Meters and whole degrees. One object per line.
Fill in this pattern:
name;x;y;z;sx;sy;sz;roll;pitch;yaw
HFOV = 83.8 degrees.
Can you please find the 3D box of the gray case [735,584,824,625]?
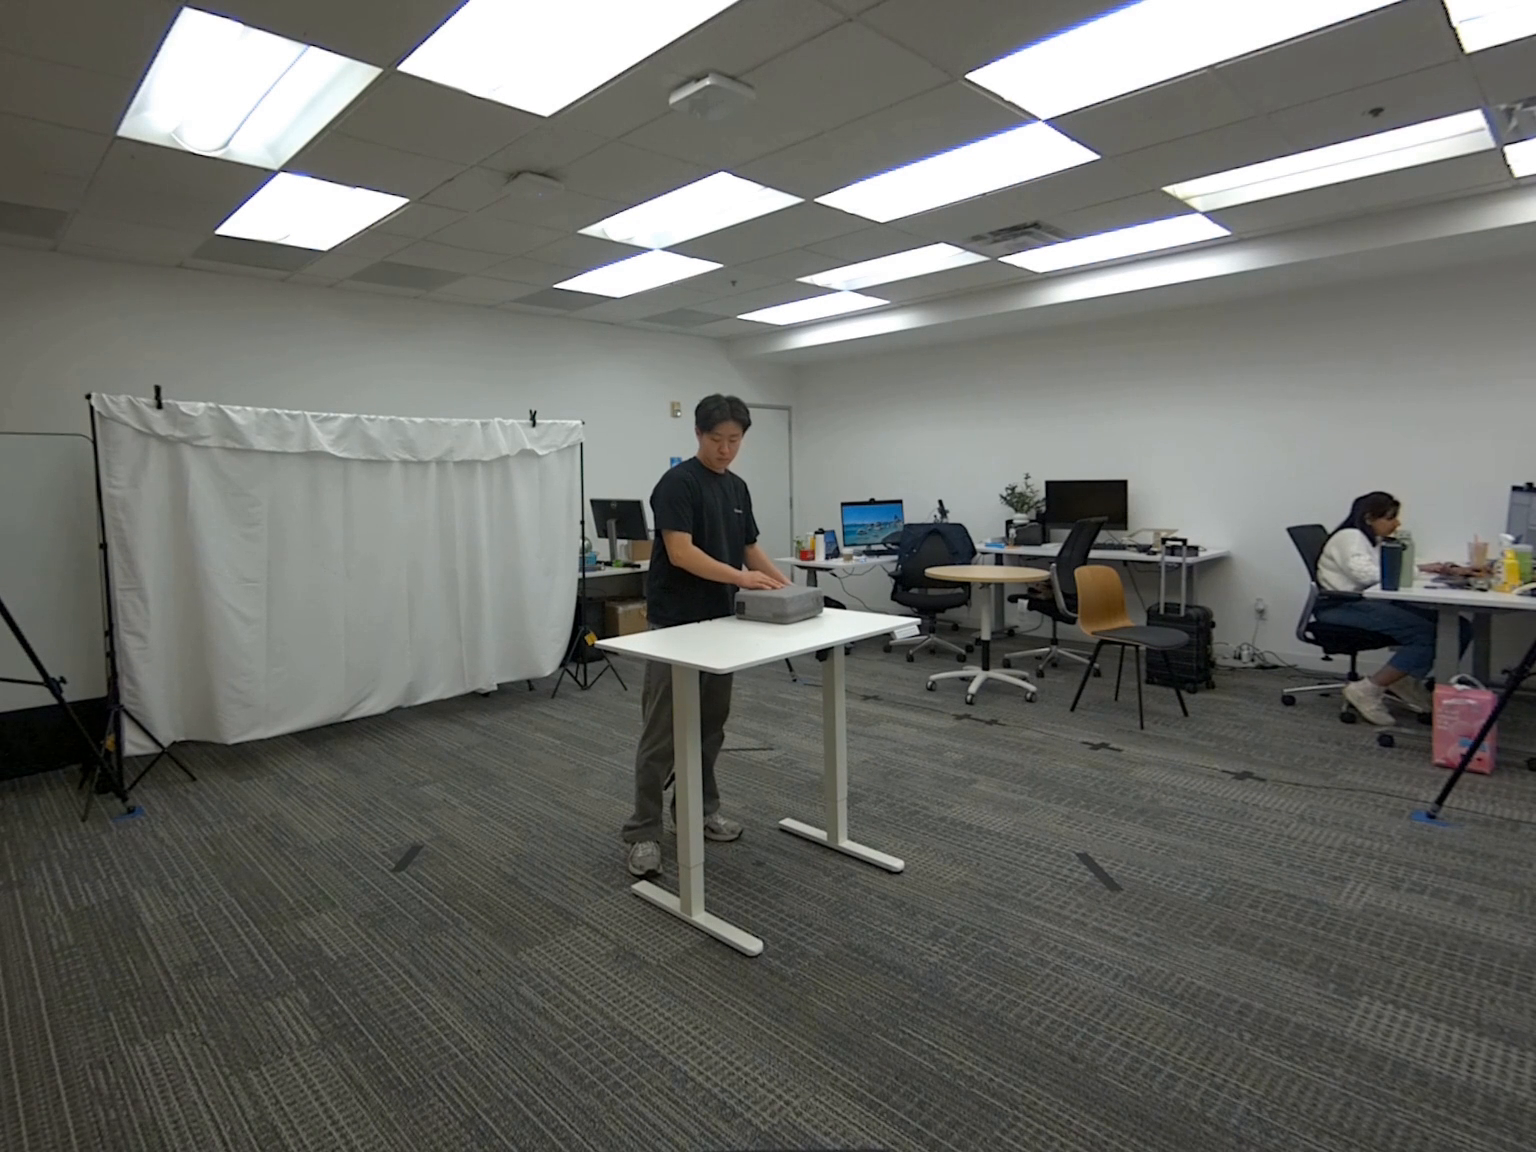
gray case;0.049;0.103;3.149;0.264;0.104;0.254;1;7;38
